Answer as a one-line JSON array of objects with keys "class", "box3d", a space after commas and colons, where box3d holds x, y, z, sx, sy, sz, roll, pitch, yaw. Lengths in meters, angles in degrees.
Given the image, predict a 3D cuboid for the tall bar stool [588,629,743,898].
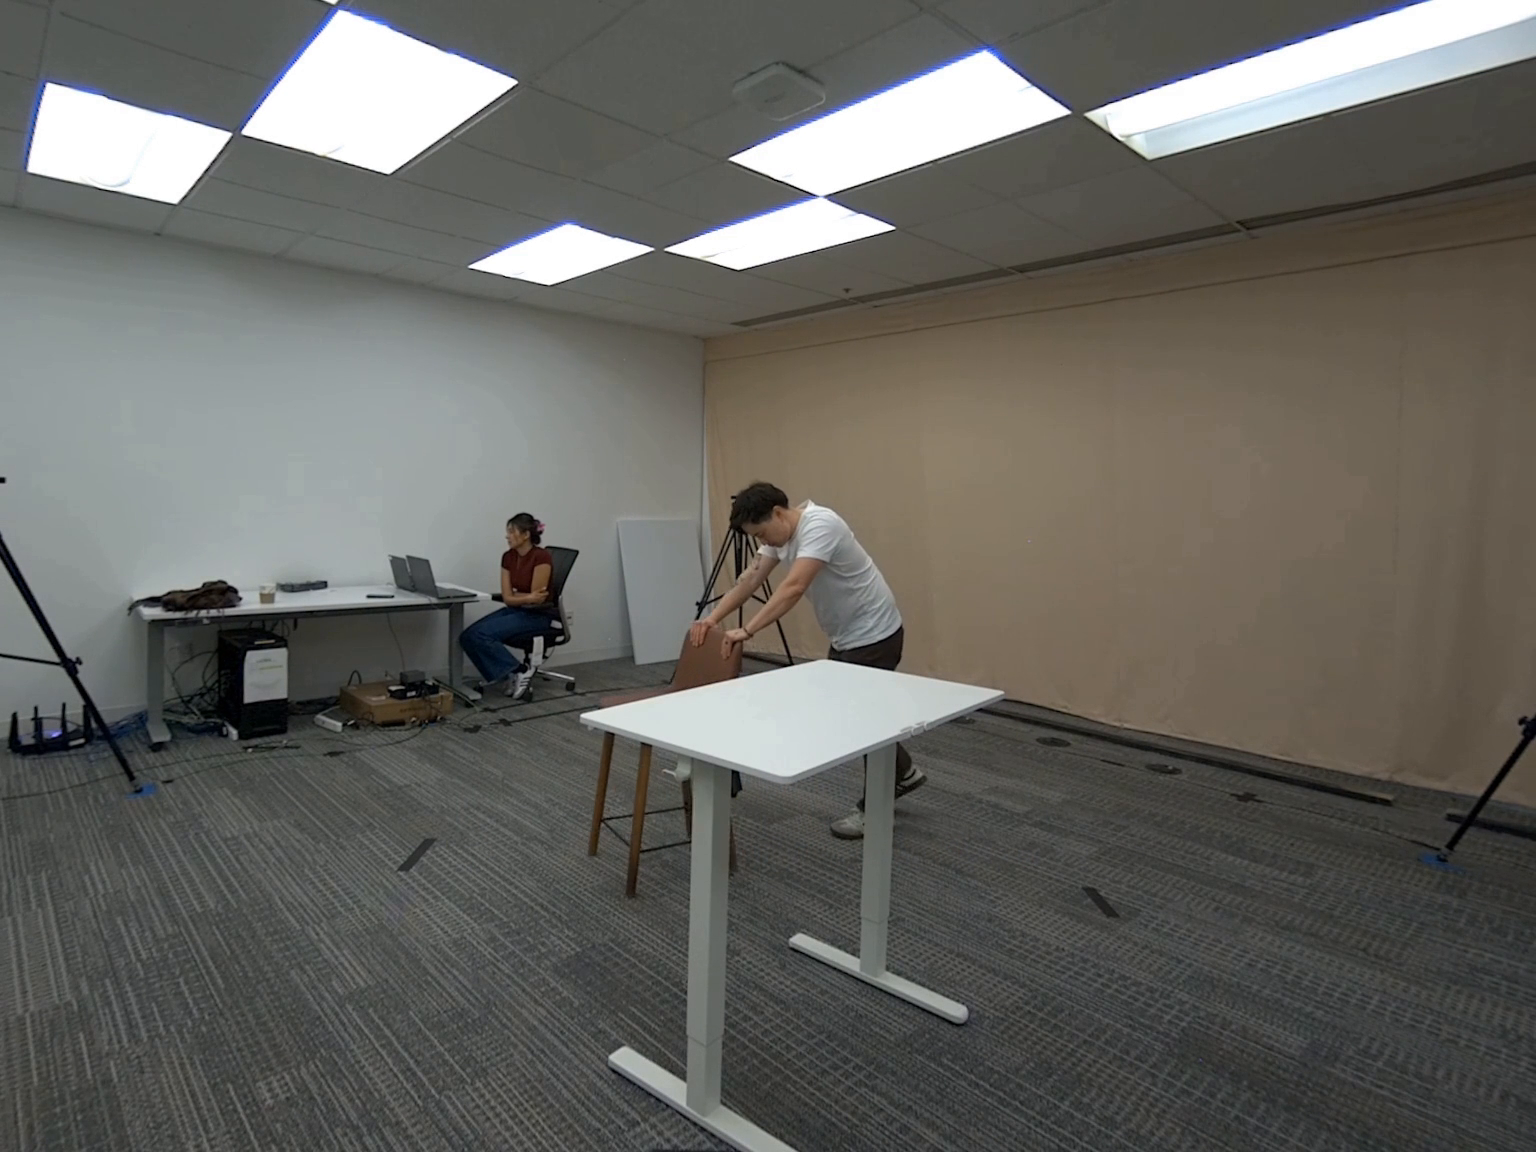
[{"class": "tall bar stool", "box3d": [-0.386, 0.654, 3.167, 0.458, 0.888, 0.467, 1, 3, -31]}]
